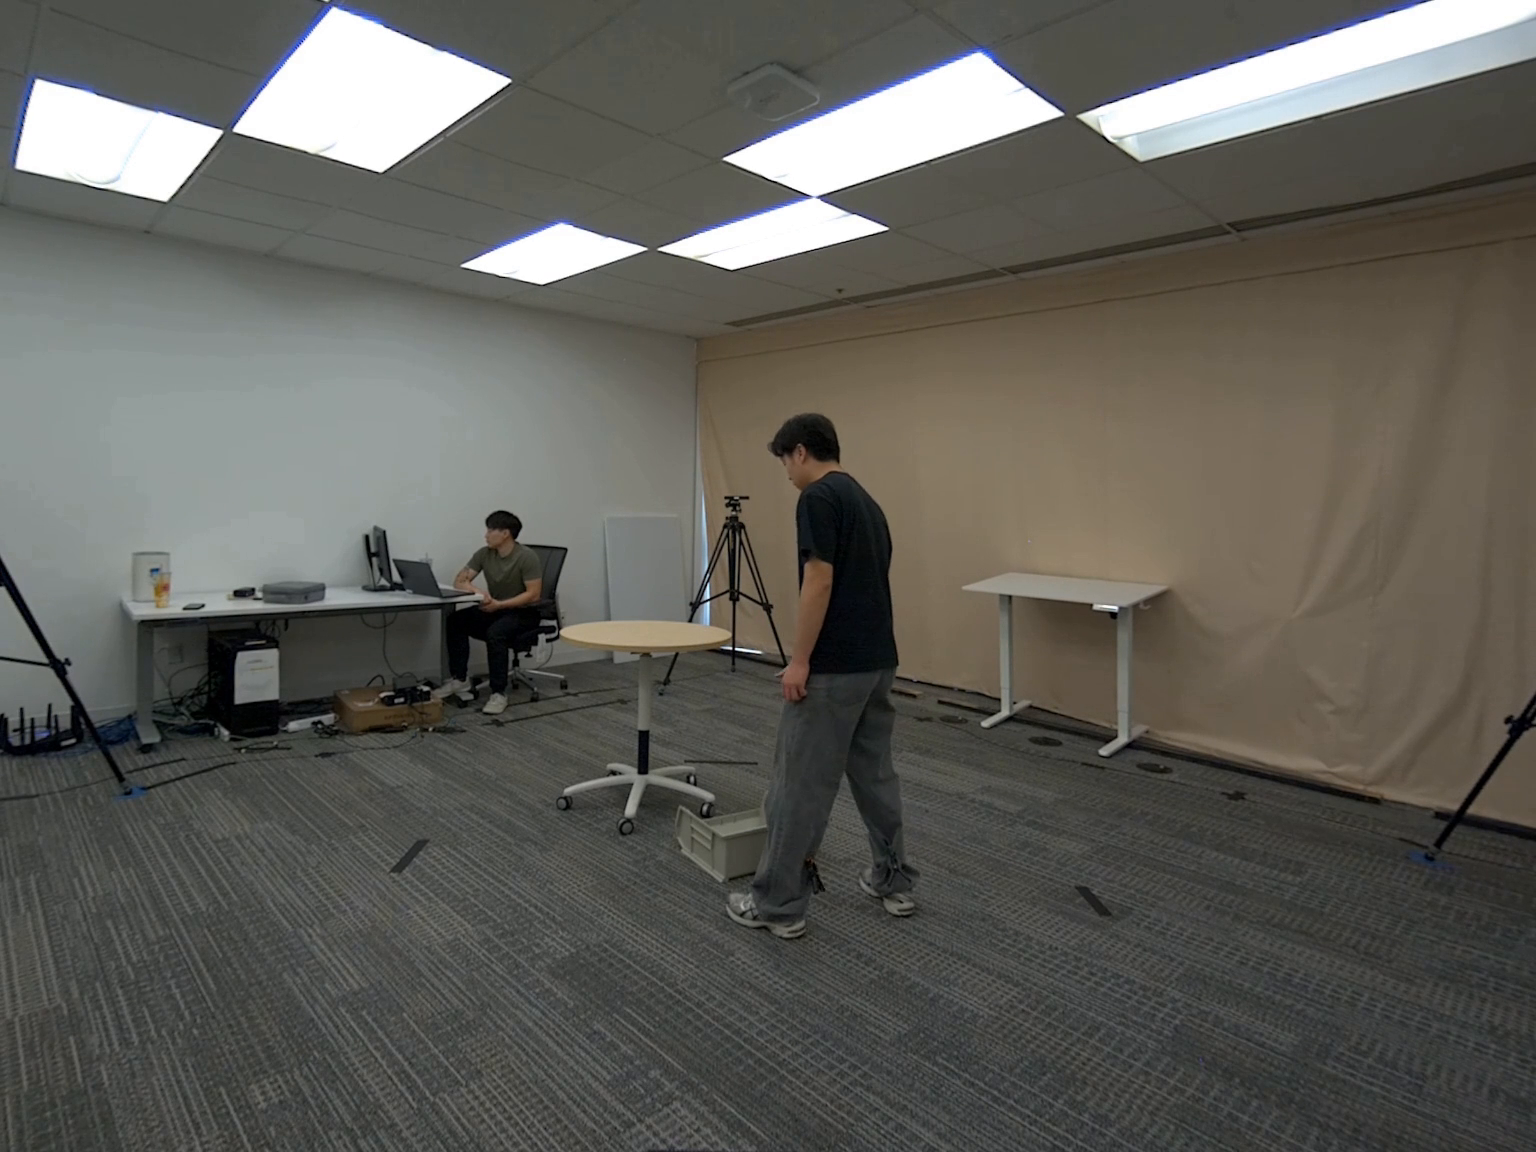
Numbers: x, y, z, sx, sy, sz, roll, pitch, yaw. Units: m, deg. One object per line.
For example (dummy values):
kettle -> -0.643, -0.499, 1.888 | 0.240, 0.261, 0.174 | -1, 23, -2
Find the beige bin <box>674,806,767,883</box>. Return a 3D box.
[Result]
beige bin -> -0.099, 1.000, 3.286 | 0.413, 0.188, 0.386 | -1, 6, -32
